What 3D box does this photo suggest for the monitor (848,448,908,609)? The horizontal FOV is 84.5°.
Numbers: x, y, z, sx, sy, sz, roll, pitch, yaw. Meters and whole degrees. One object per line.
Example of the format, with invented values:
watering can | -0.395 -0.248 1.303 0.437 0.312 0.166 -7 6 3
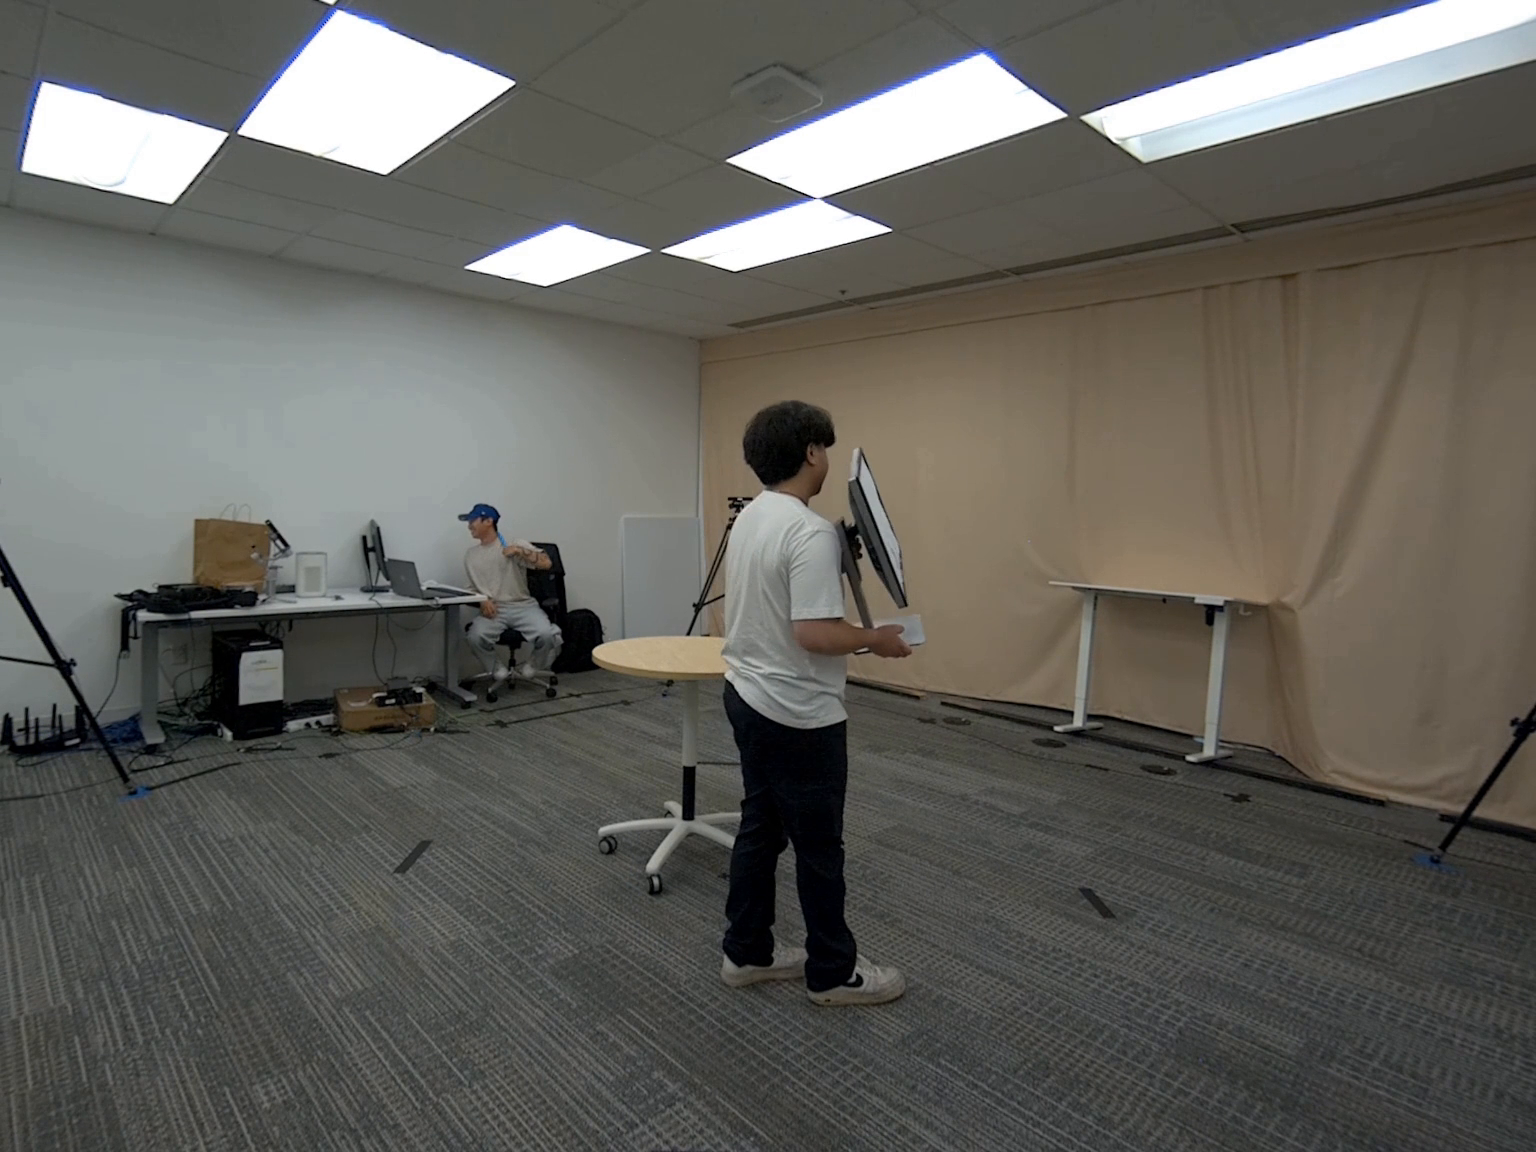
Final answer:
monitor | 0.264 -0.064 2.413 0.212 0.548 0.567 -14 13 12
